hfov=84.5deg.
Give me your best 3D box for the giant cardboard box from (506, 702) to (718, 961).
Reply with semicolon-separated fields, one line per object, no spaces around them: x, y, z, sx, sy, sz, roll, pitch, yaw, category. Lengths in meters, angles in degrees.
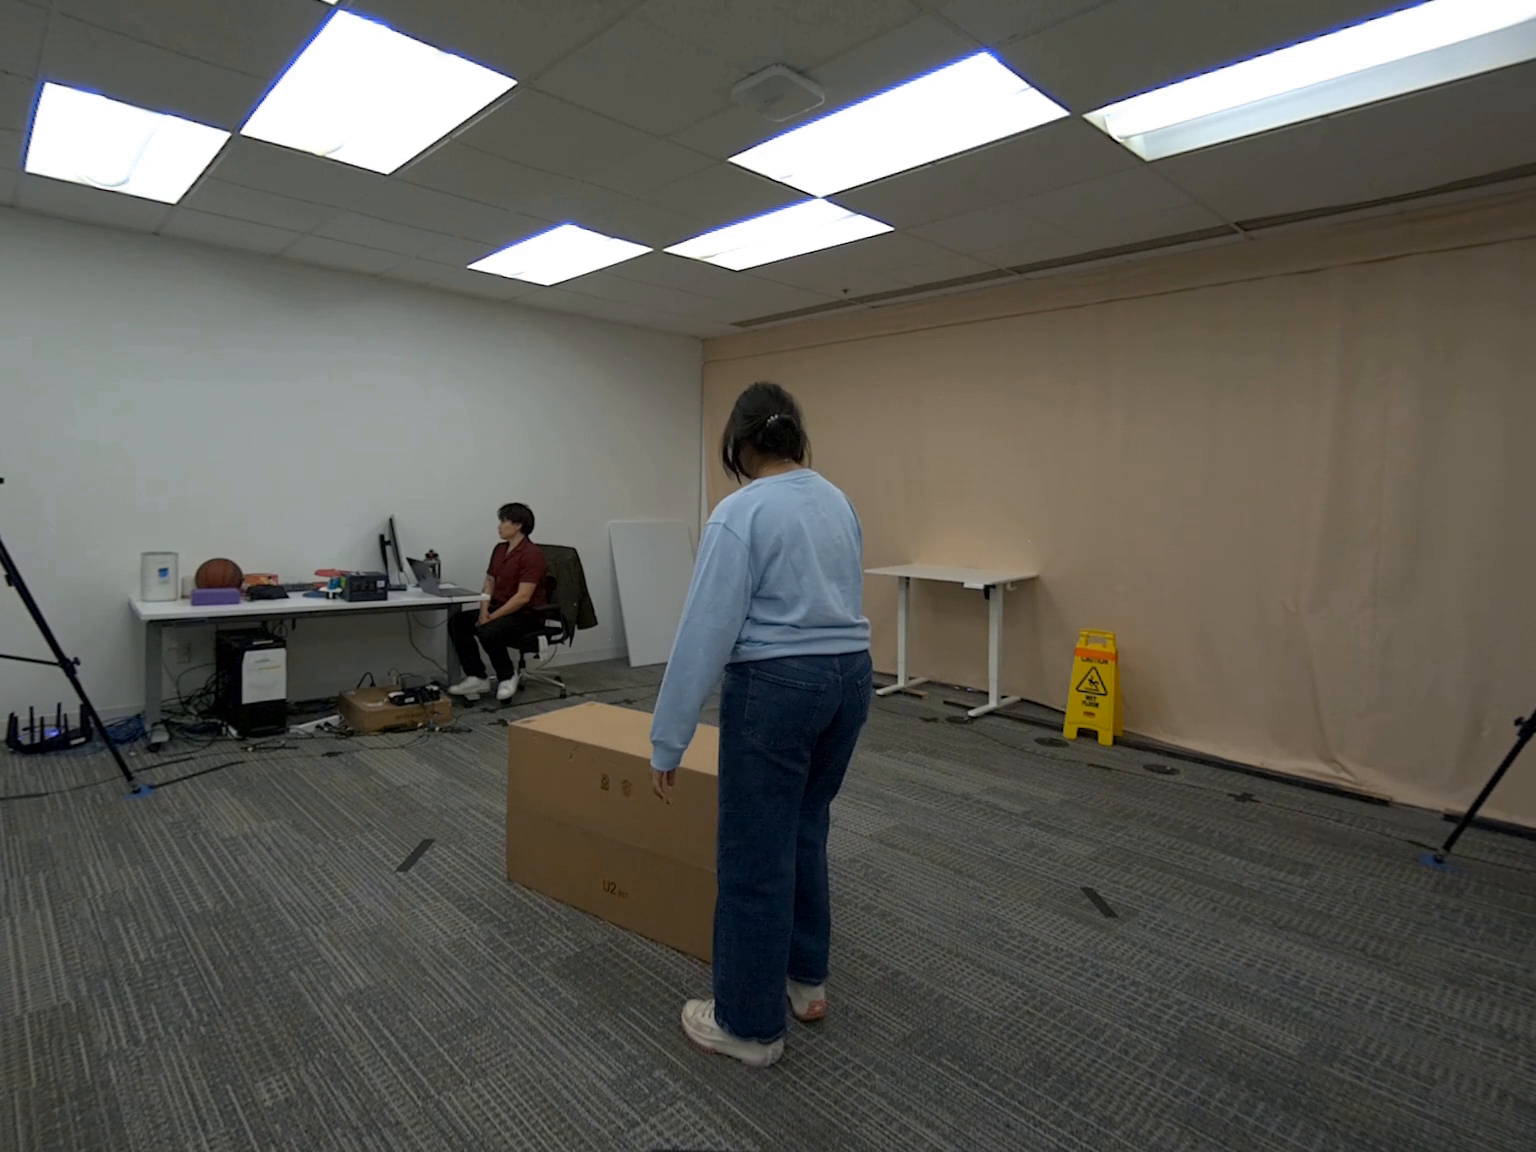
-0.399;0.833;2.896;1.051;0.582;0.438;5;6;35;giant cardboard box
